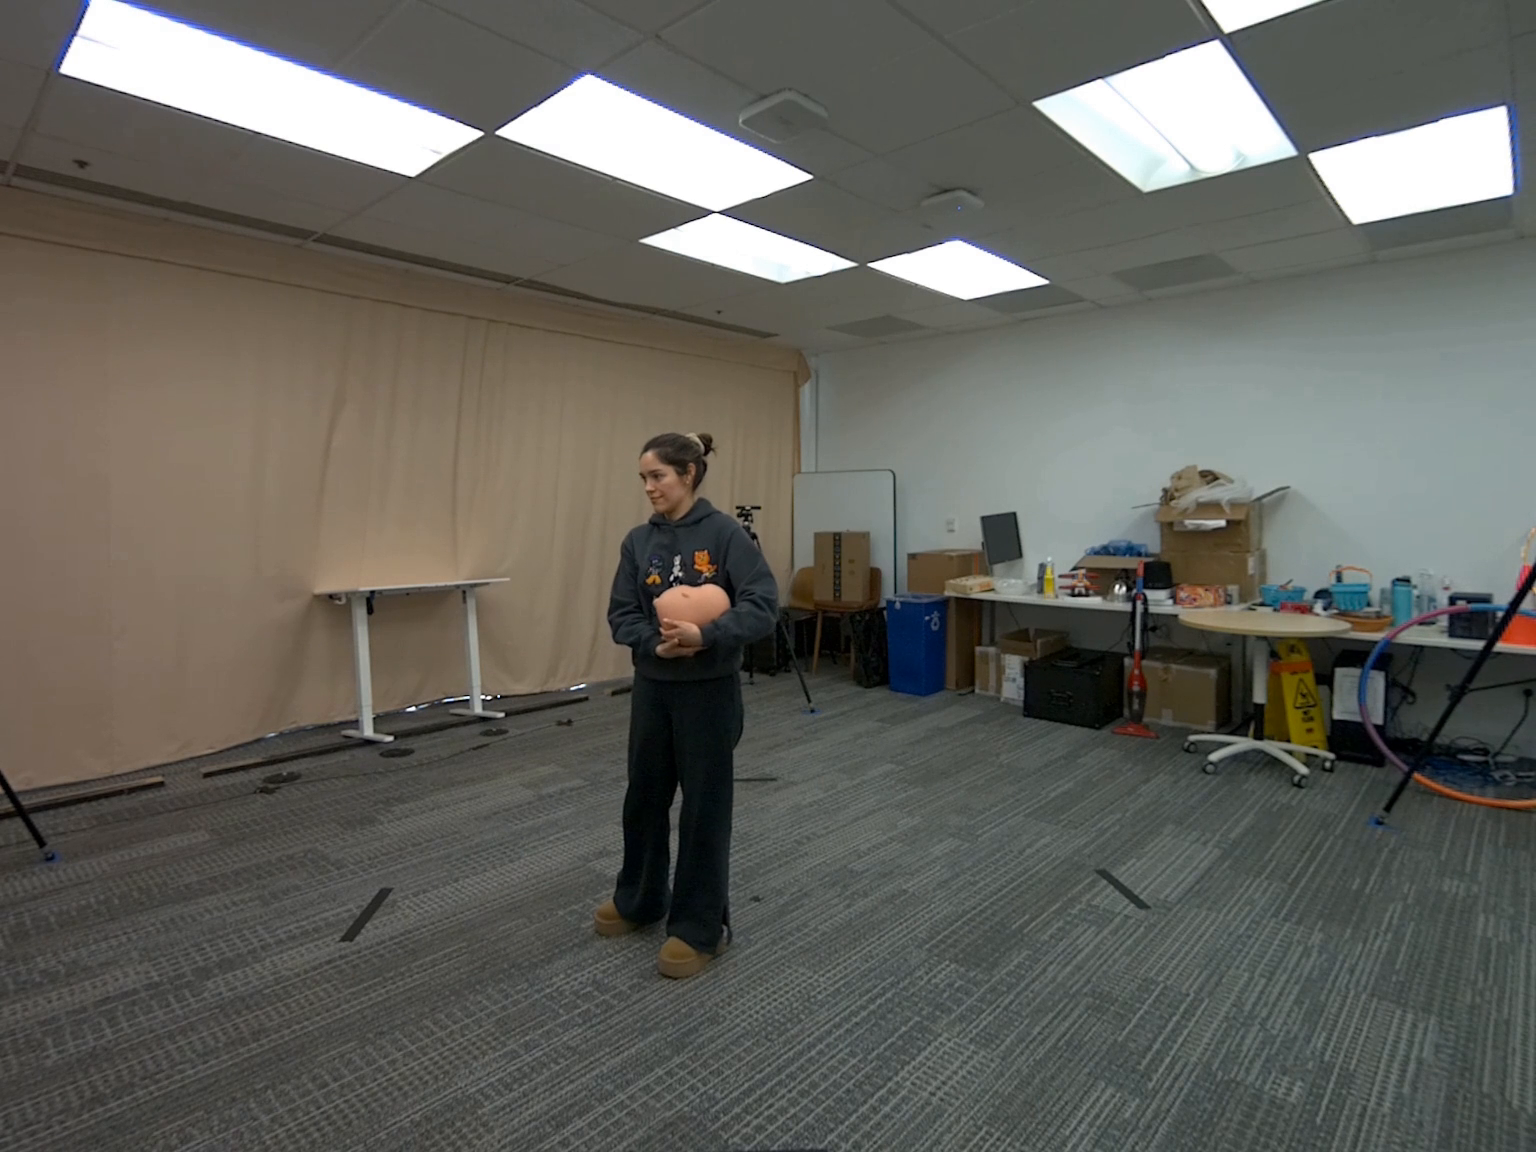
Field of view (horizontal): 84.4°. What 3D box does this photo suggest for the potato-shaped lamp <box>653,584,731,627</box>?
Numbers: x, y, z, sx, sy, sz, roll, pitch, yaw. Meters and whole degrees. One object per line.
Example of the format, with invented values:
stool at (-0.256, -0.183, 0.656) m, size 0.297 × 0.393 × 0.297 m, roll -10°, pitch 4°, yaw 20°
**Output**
potato-shaped lamp at (-0.207, 0.102, 2.411) m, size 0.200 × 0.172 × 0.162 m, roll -24°, pitch -5°, yaw 10°
